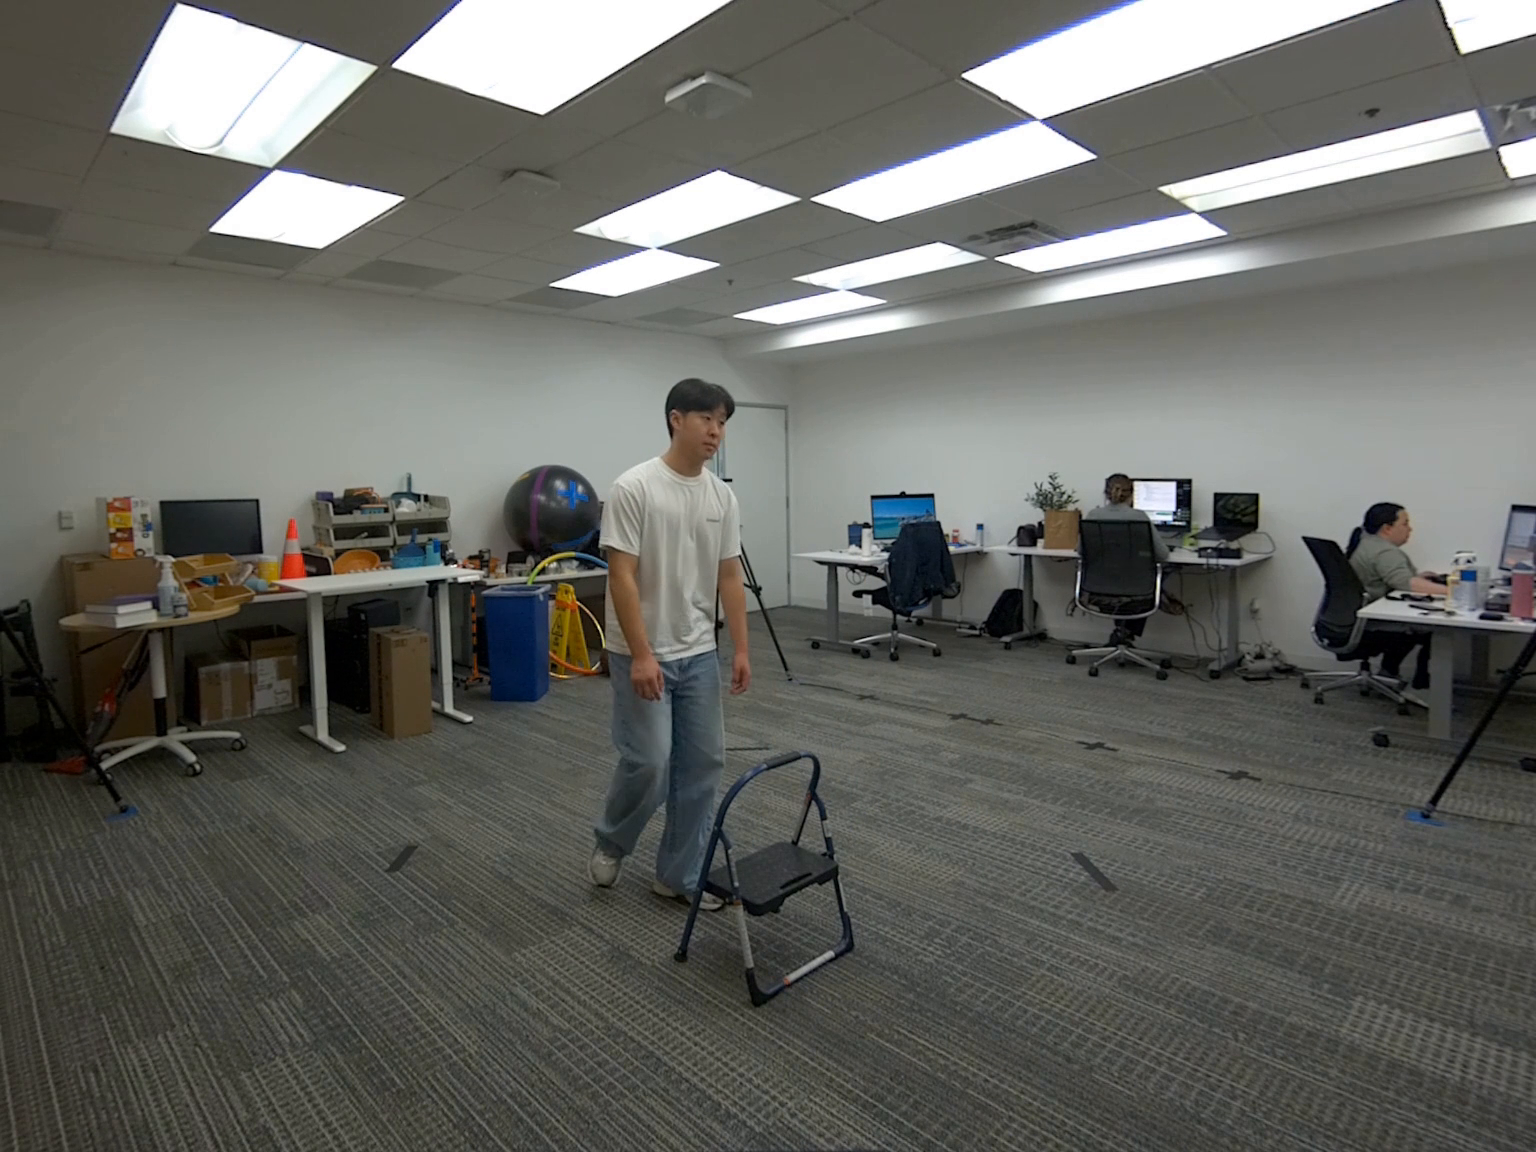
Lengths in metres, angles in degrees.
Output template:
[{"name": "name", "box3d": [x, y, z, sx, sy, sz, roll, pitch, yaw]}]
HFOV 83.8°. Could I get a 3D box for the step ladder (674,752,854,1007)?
[{"name": "step ladder", "box3d": [-0.010, 0.809, 2.504, 0.419, 0.604, 0.360, -6, 6, -45]}]
